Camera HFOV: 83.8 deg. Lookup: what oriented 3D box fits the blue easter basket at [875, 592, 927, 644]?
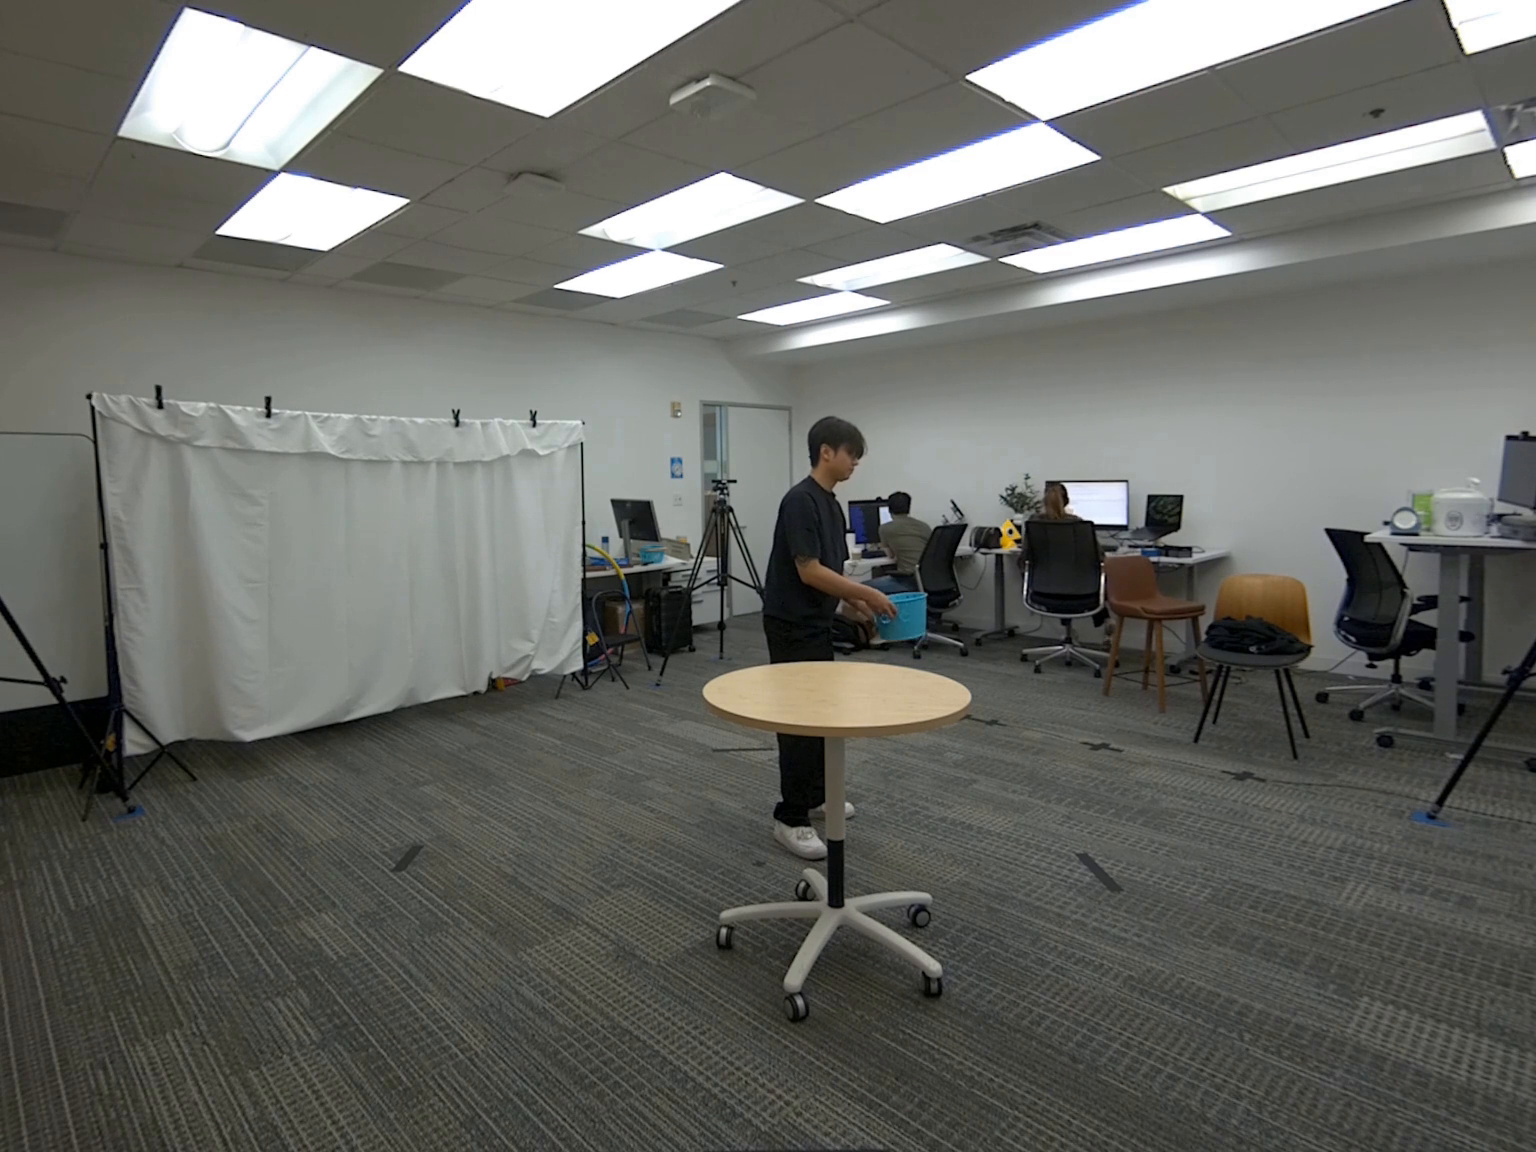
[{"bbox_3d":[0.521,0.165,3.403,0.243,0.155,0.244,-8,4,-1],"label":"blue easter basket"}]
